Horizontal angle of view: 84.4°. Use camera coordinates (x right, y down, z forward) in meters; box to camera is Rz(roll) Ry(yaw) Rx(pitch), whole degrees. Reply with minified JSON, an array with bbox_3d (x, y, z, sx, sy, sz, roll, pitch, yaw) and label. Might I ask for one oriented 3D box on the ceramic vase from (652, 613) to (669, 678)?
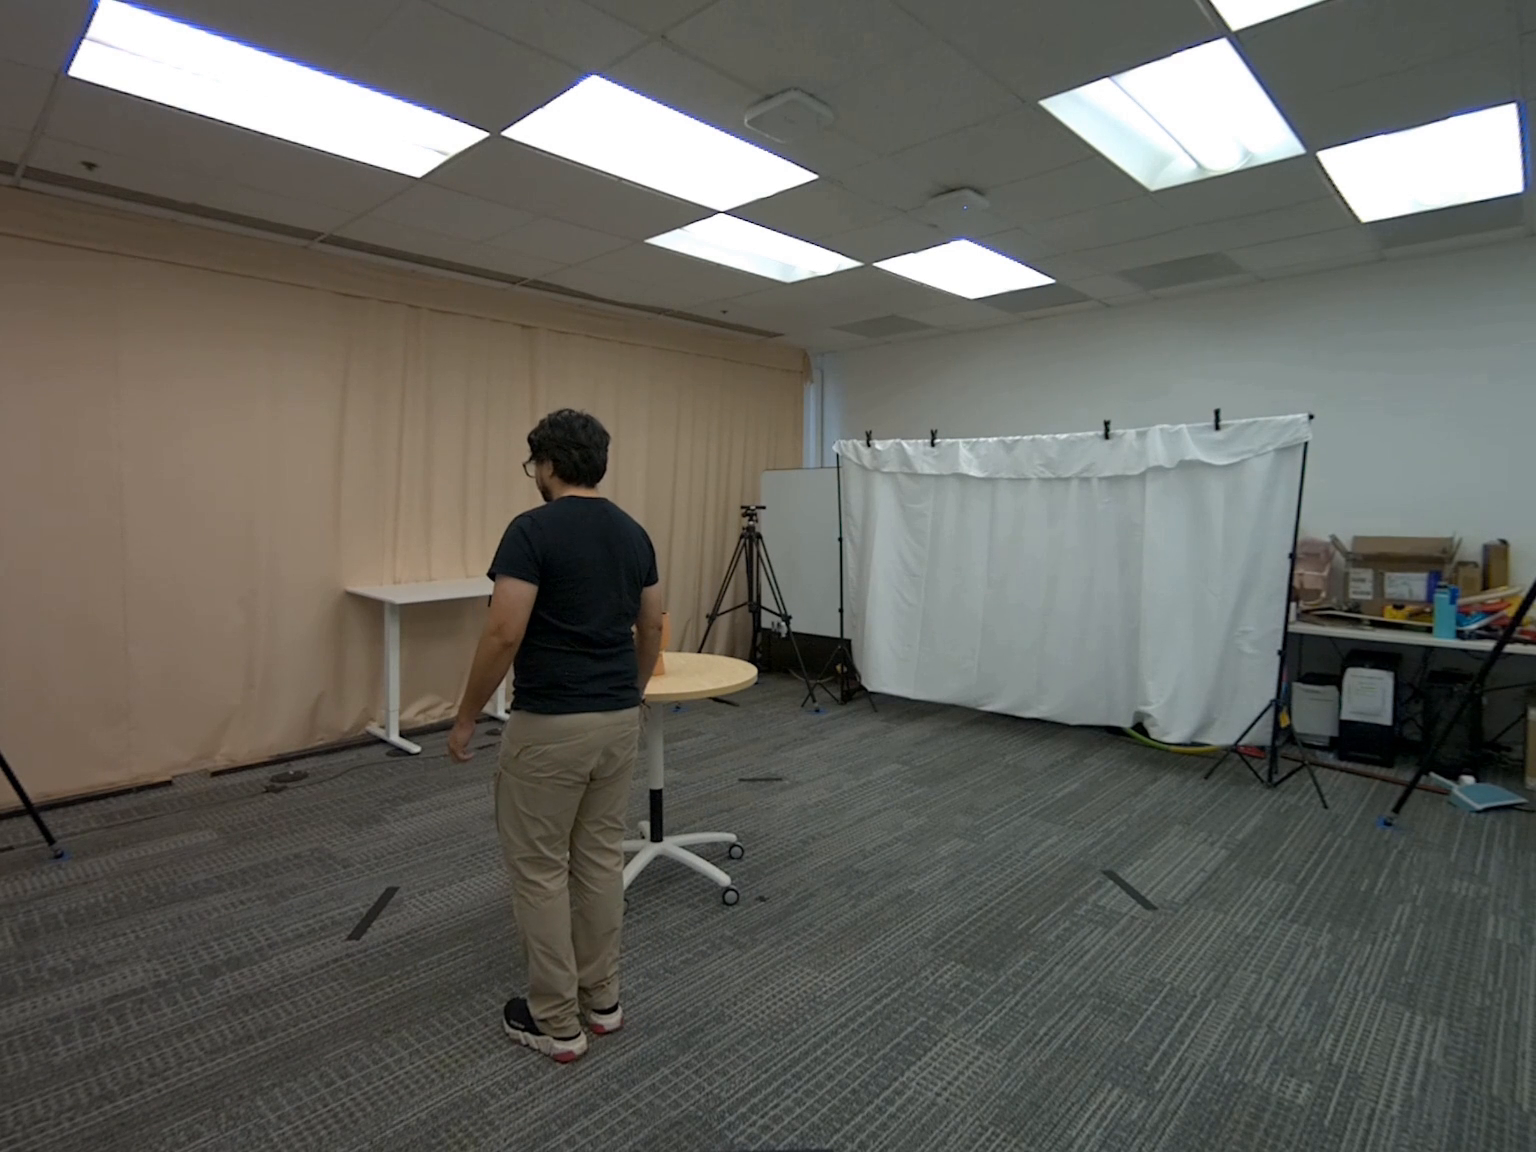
[{"bbox_3d":[-0.423,0.246,3.069,0.138,0.219,0.155,1,3,21],"label":"ceramic vase"}]
